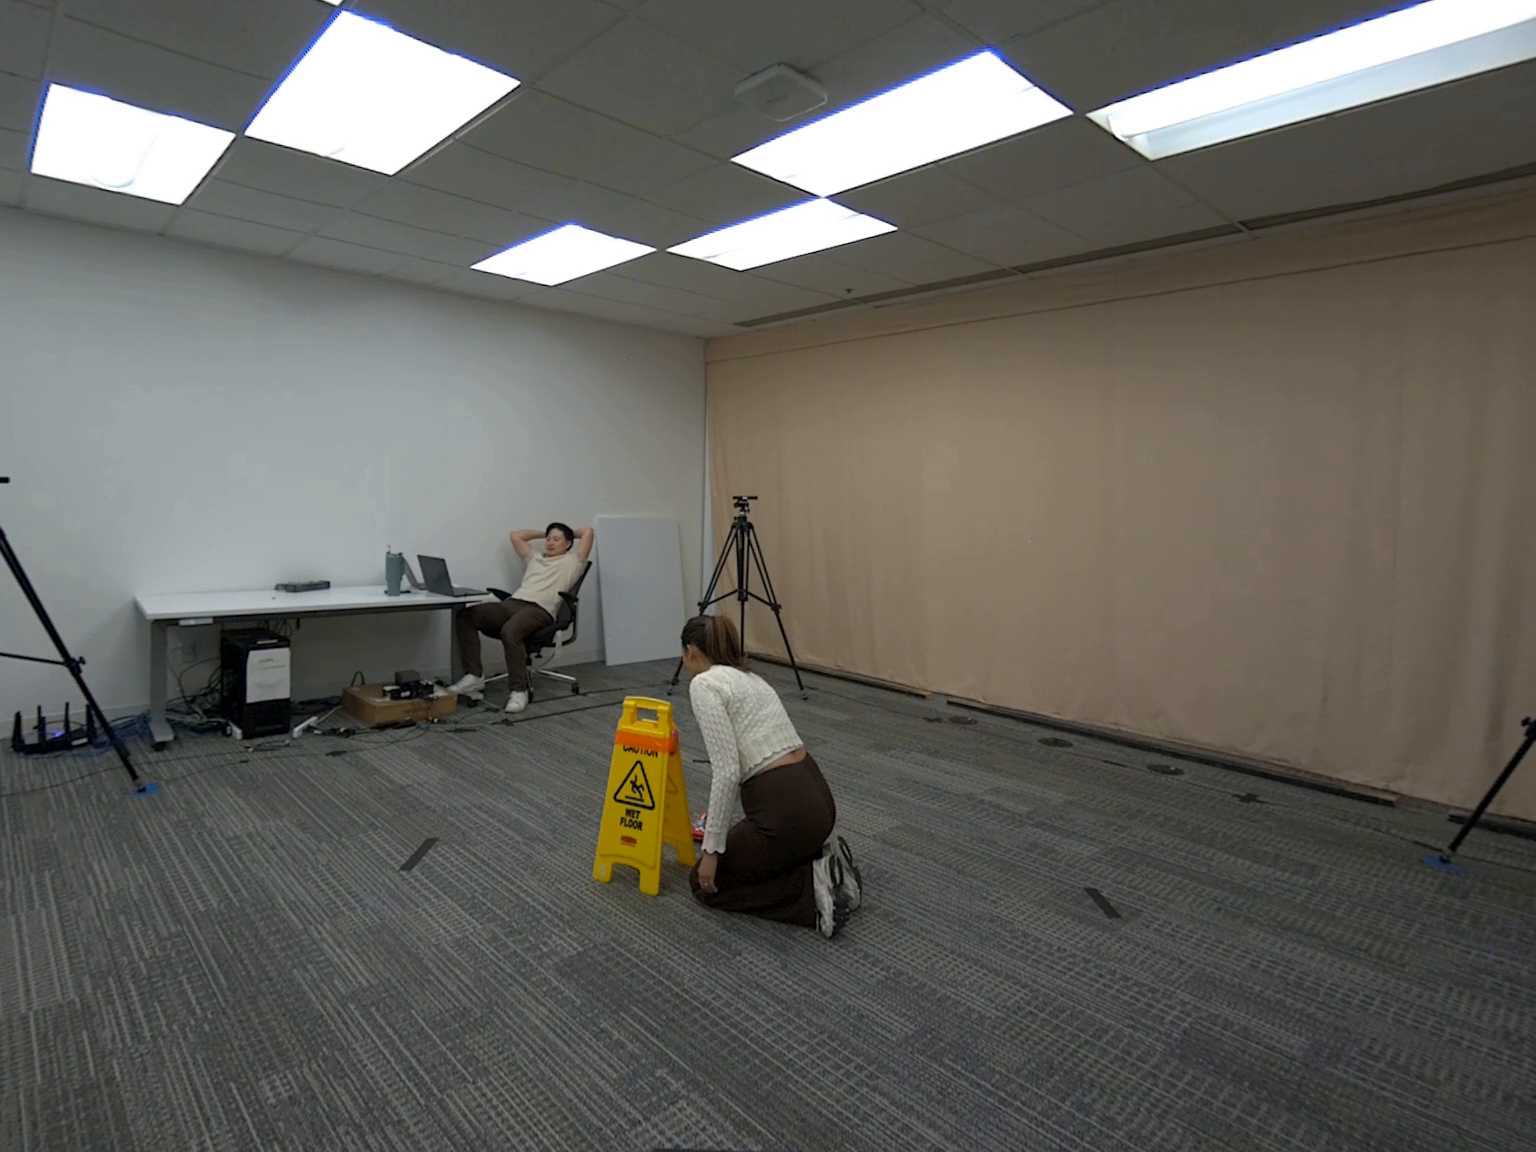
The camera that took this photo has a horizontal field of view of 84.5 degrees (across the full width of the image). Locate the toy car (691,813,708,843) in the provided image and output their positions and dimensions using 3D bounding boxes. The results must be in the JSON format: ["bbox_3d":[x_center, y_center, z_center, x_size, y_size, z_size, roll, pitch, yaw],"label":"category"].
[{"bbox_3d":[-0.248,1.036,3.496,0.132,0.082,0.253,3,16,17],"label":"toy car"}]
